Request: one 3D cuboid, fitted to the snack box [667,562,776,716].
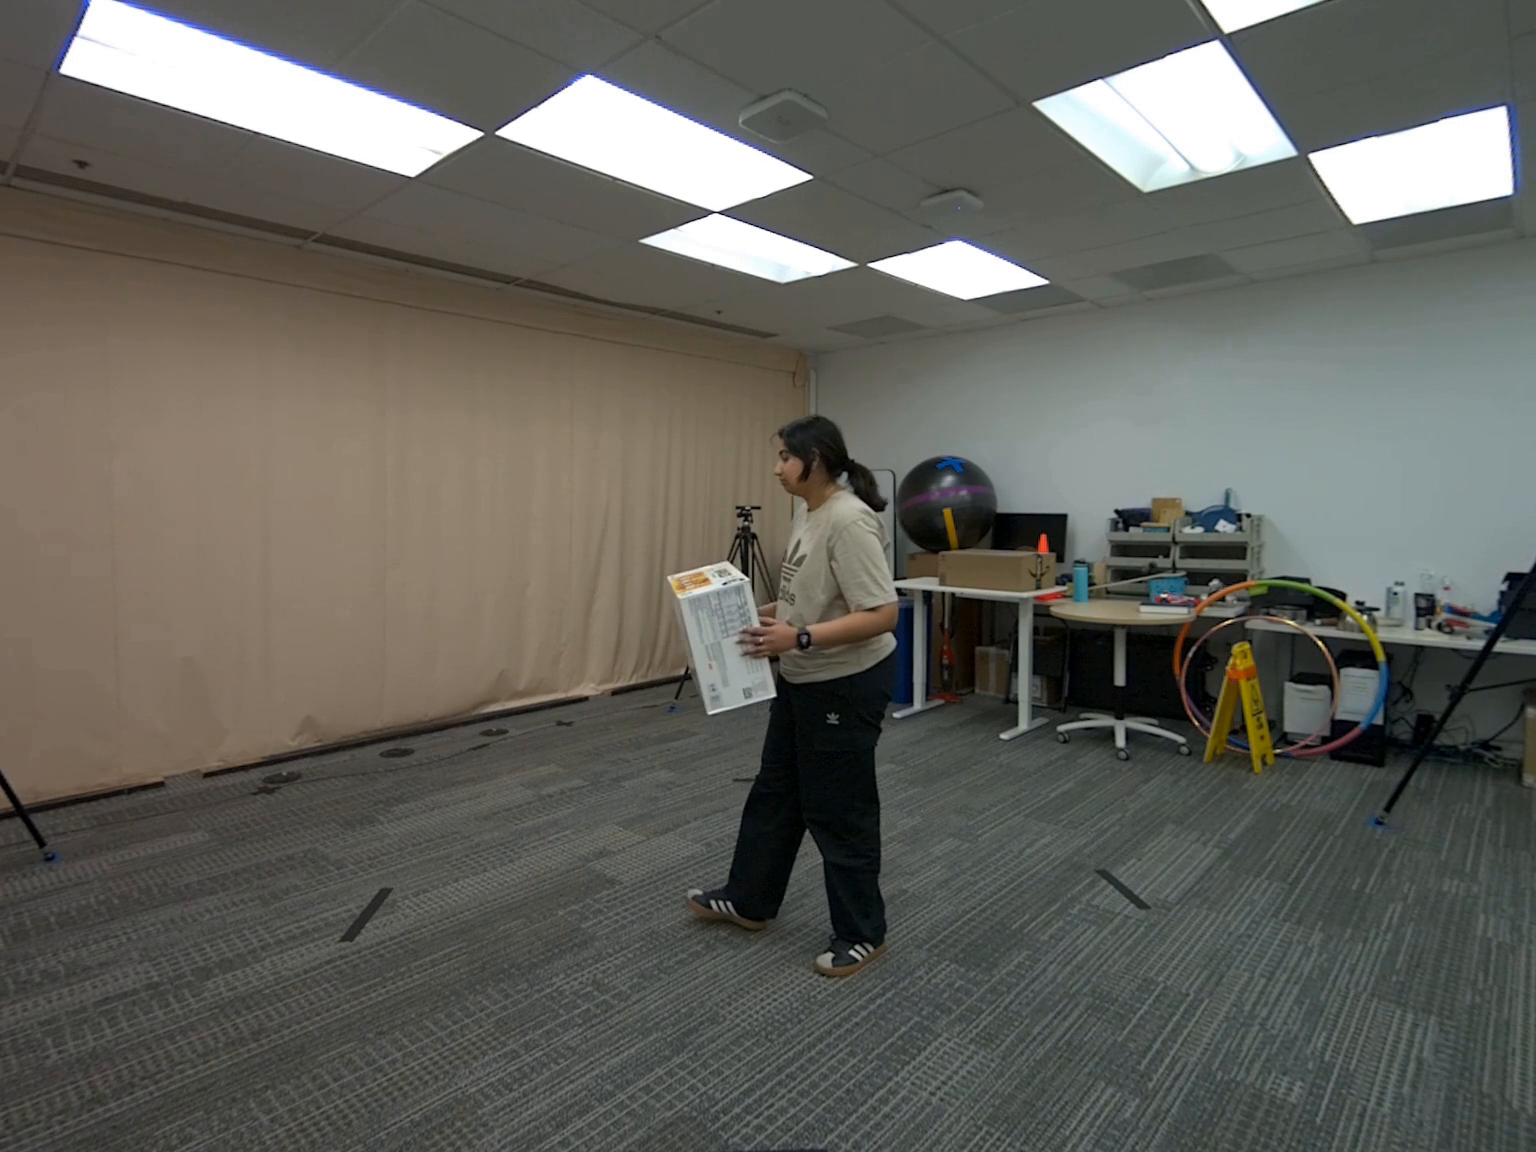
[{"bbox_3d":[-0.150,0.169,2.495,0.204,0.338,0.410,-14,8,-8],"label":"snack box"}]
